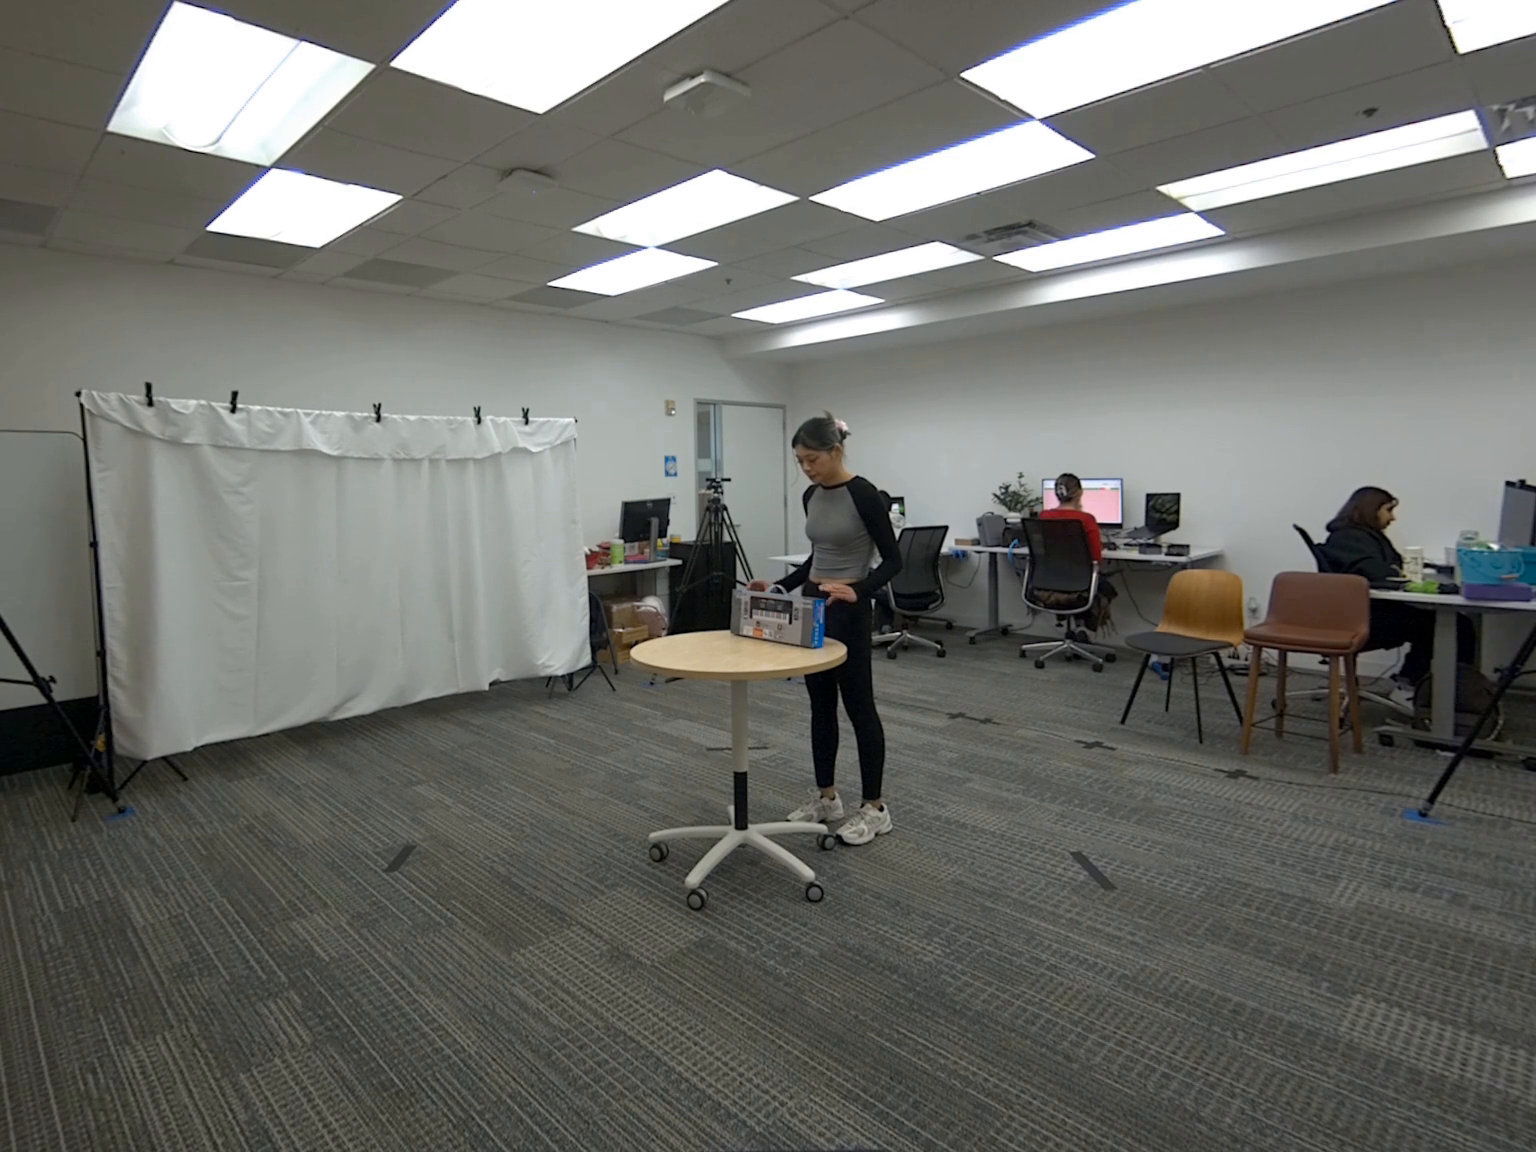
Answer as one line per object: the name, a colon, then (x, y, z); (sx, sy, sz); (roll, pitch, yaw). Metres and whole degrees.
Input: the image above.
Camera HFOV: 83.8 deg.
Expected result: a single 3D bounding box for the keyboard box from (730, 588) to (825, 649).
keyboard box: (0.031, 0.154, 3.170); (0.057, 0.176, 0.450); (5, 0, -42)
